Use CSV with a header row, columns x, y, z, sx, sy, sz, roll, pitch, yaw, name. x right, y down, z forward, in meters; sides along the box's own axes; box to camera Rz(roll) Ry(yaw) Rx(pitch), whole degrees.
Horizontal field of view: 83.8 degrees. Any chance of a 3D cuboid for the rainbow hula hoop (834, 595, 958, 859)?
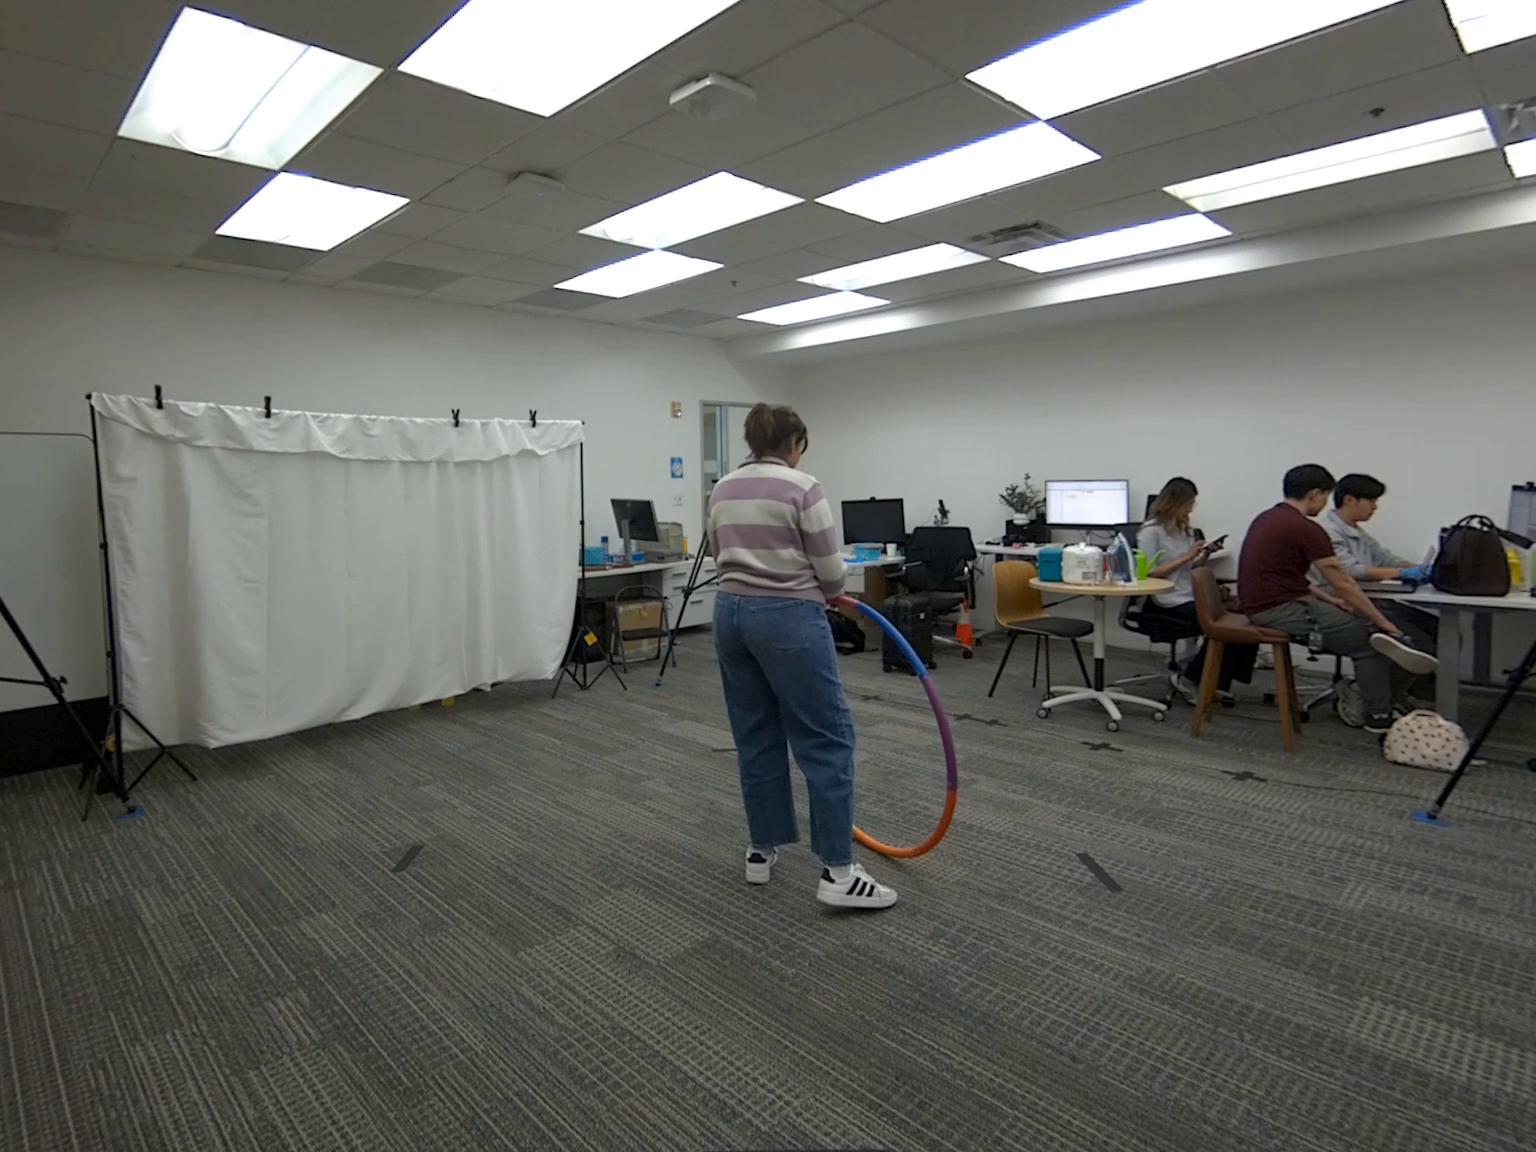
x,y,z,sx,sy,sz,roll,pitch,yaw,name
0.337,0.553,3.177,0.050,0.978,1.013,-10,9,-30,rainbow hula hoop
